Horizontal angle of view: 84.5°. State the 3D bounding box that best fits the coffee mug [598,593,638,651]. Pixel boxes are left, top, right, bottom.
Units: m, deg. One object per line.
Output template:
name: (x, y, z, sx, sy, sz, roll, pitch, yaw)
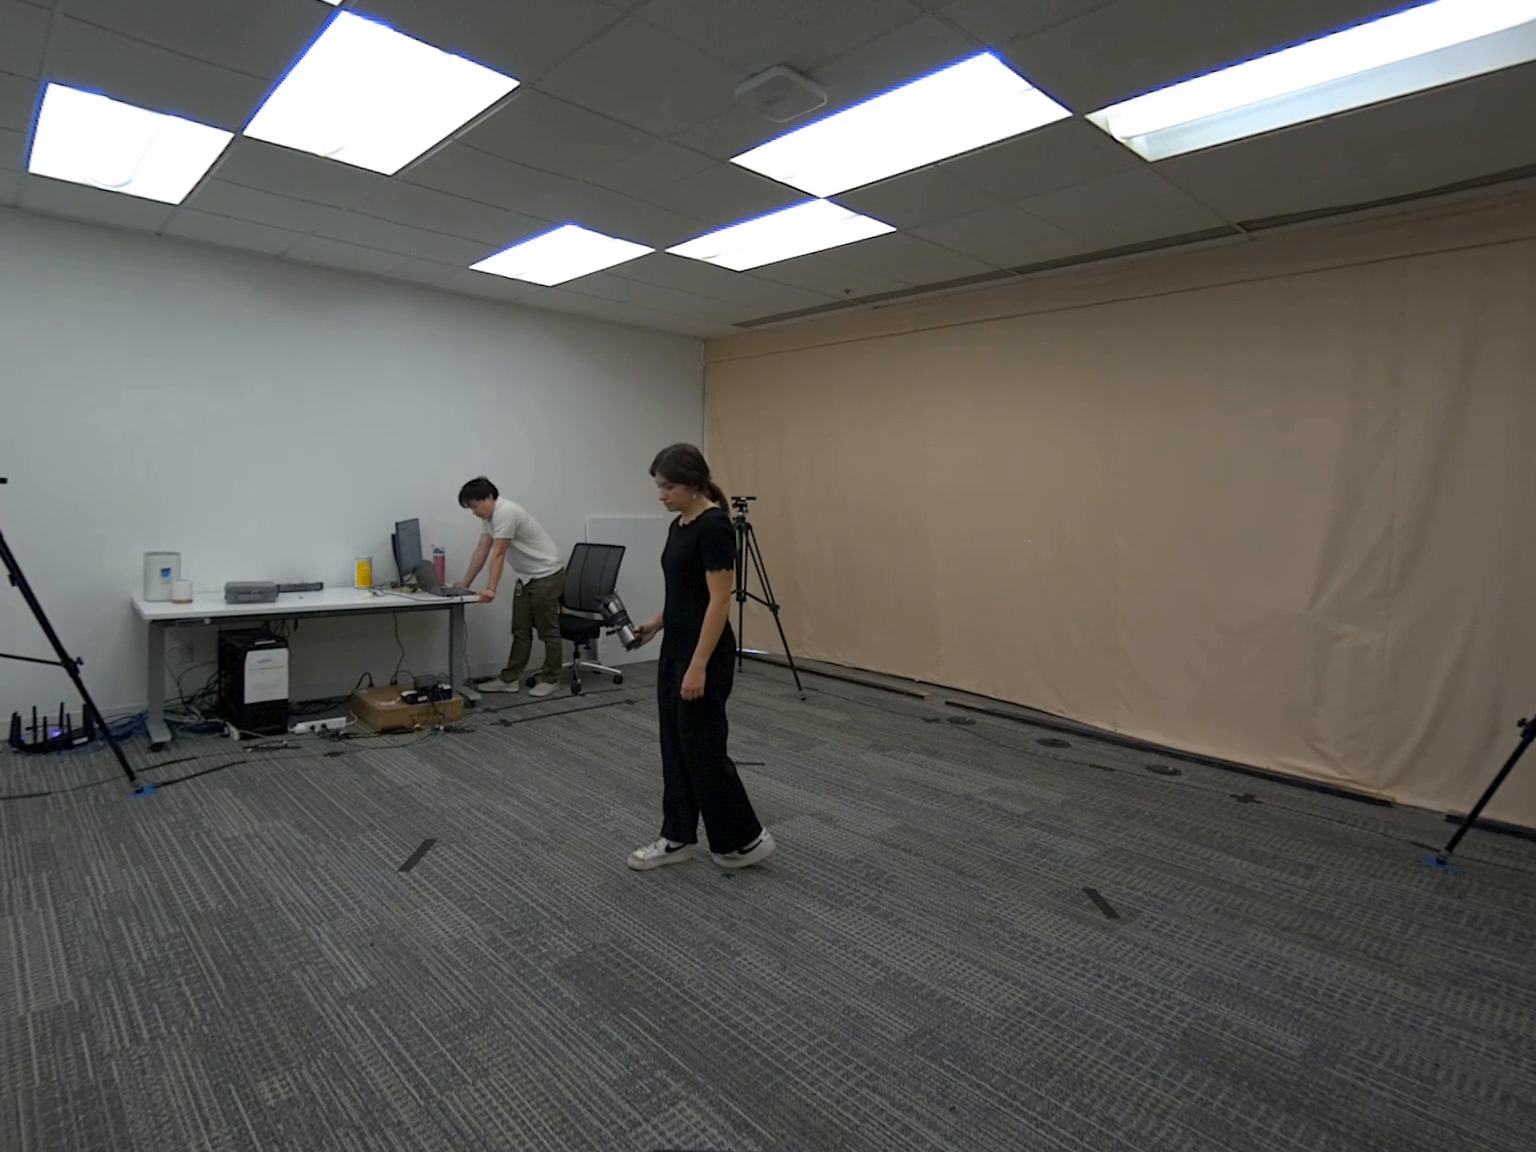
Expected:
coffee mug: (-0.567, 0.184, 3.158, 0.088, 0.207, 0.119, -42, -21, 32)
